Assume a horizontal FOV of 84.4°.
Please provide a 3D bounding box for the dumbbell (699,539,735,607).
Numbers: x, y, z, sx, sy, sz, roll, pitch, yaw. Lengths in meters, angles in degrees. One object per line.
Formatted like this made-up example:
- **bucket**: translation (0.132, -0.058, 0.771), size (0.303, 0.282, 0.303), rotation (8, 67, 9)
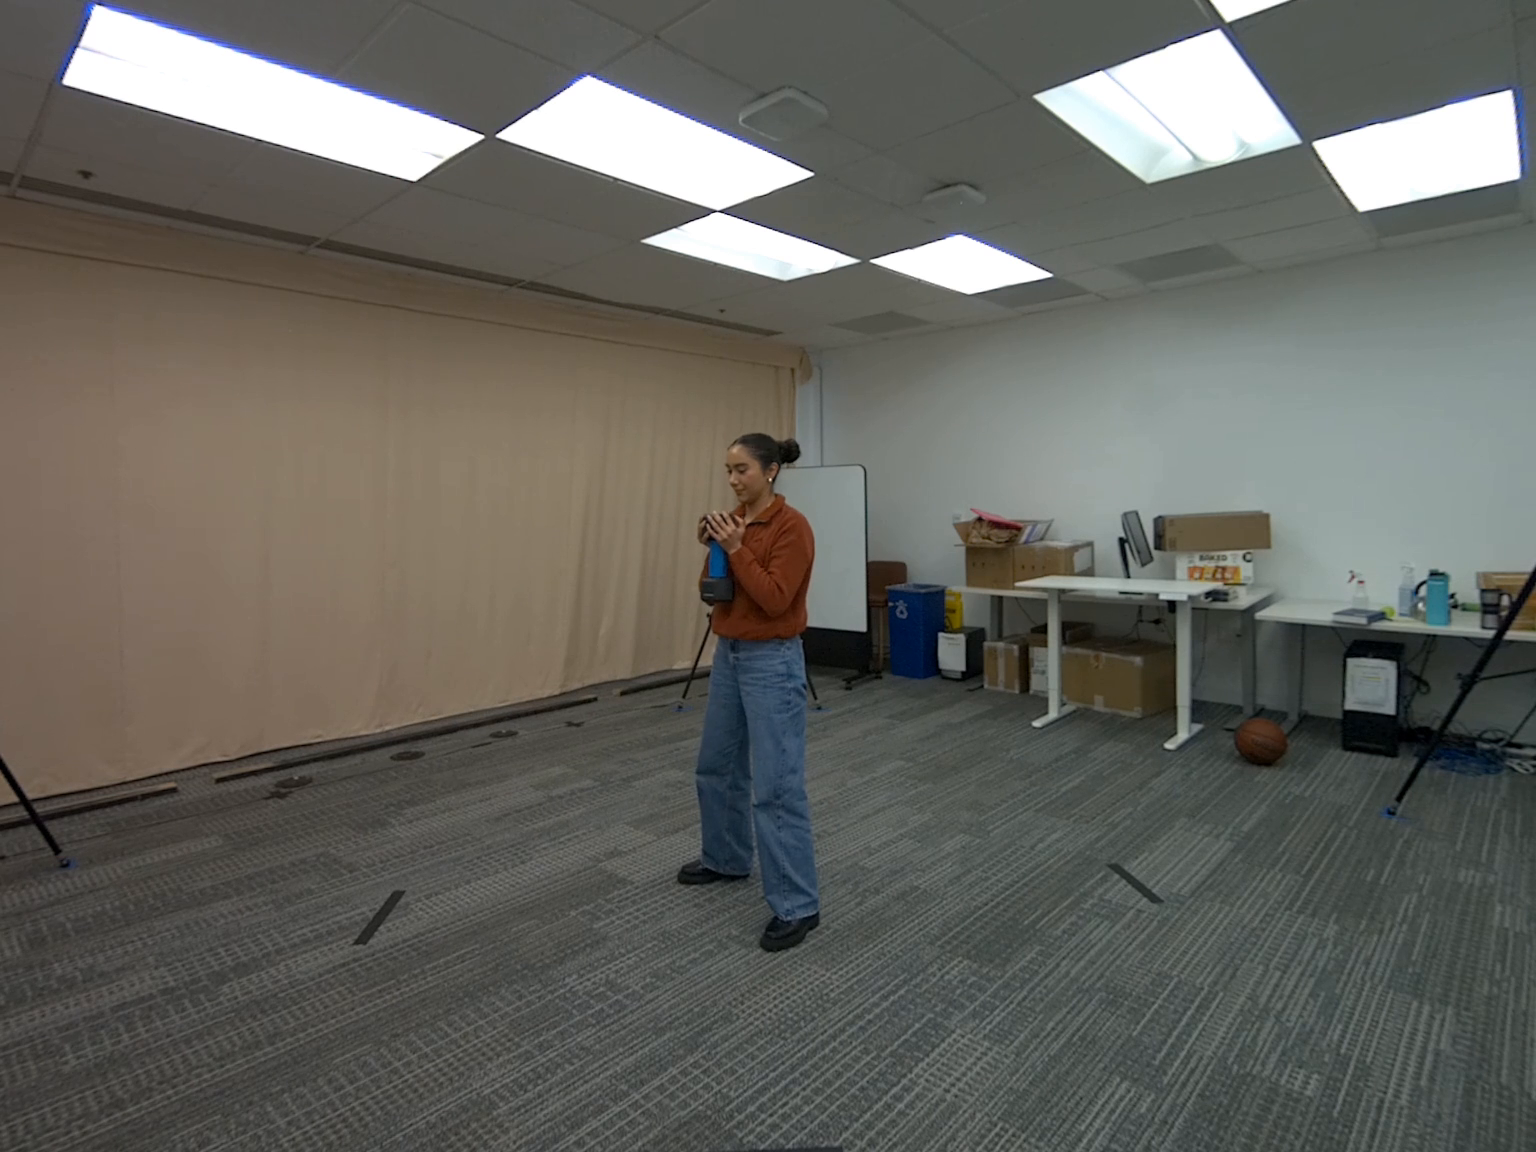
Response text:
- **dumbbell**: translation (-0.168, -0.049, 2.818), size (0.127, 0.294, 0.105), rotation (-3, -7, 40)
